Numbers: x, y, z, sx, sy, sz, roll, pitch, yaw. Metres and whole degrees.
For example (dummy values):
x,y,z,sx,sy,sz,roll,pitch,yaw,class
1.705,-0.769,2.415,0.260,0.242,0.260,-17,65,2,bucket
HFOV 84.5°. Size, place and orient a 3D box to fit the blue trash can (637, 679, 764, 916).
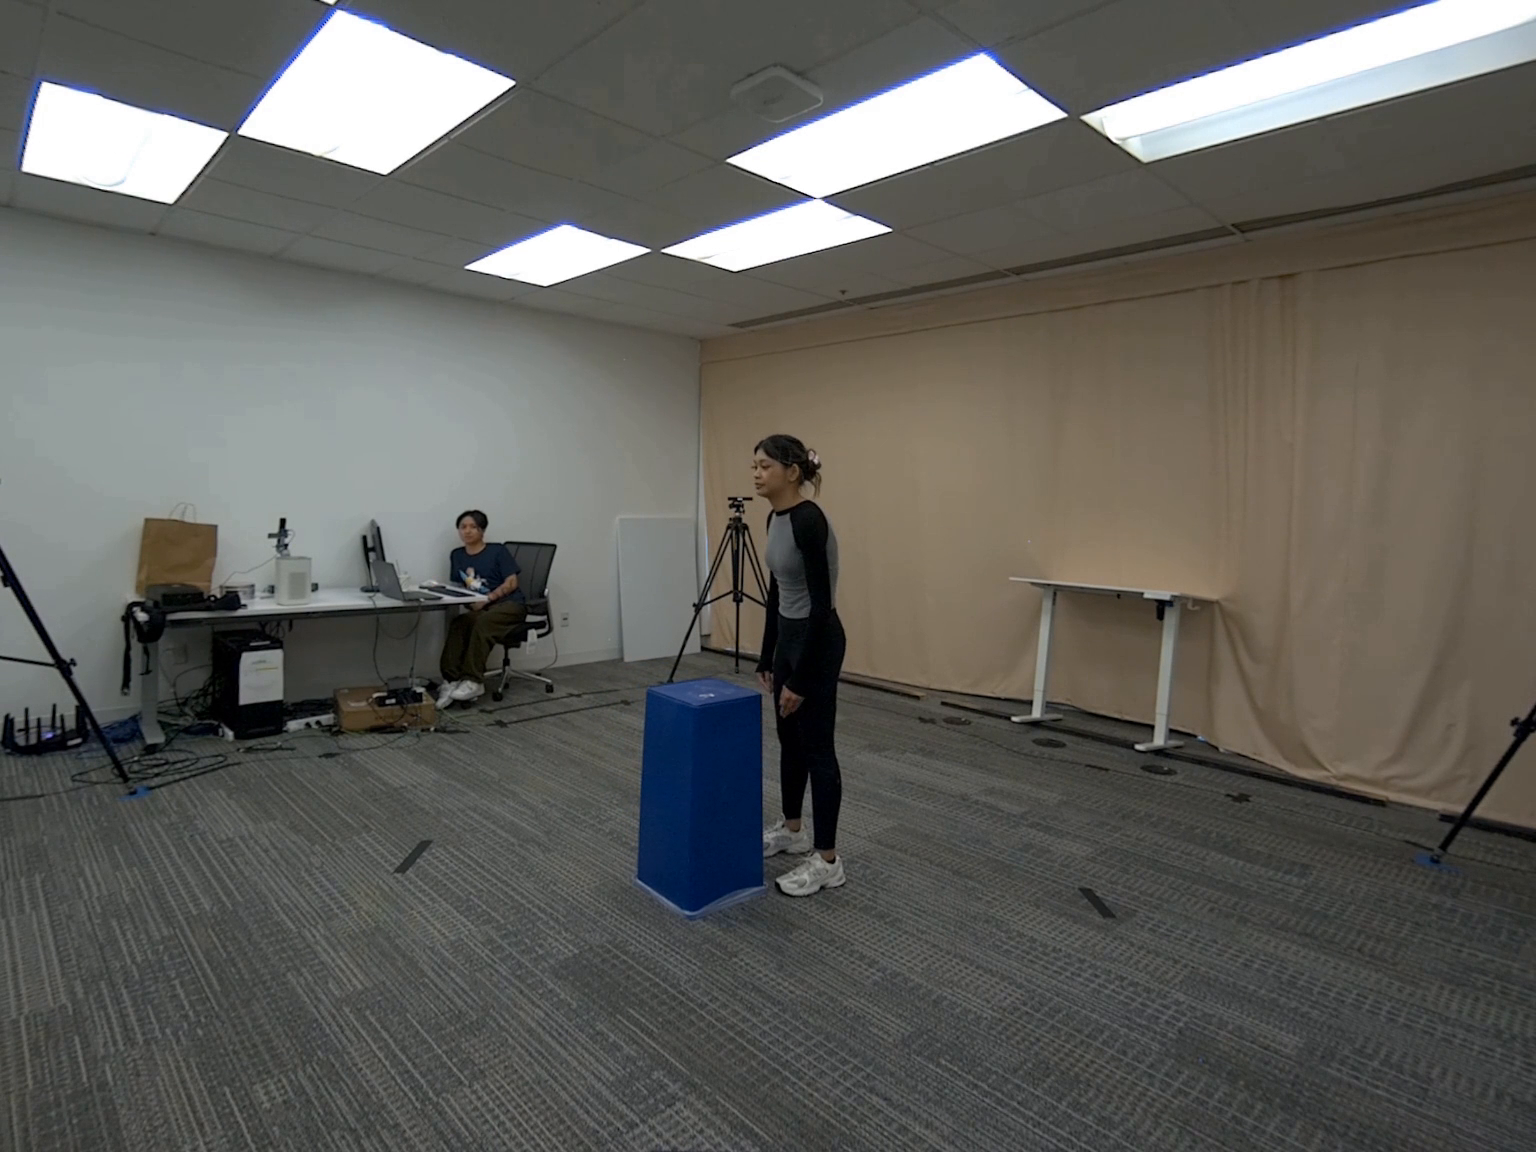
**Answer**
x,y,z,sx,sy,sz,roll,pitch,yaw,class
-0.241,0.765,2.990,0.369,0.711,0.384,-3,6,-40,blue trash can
